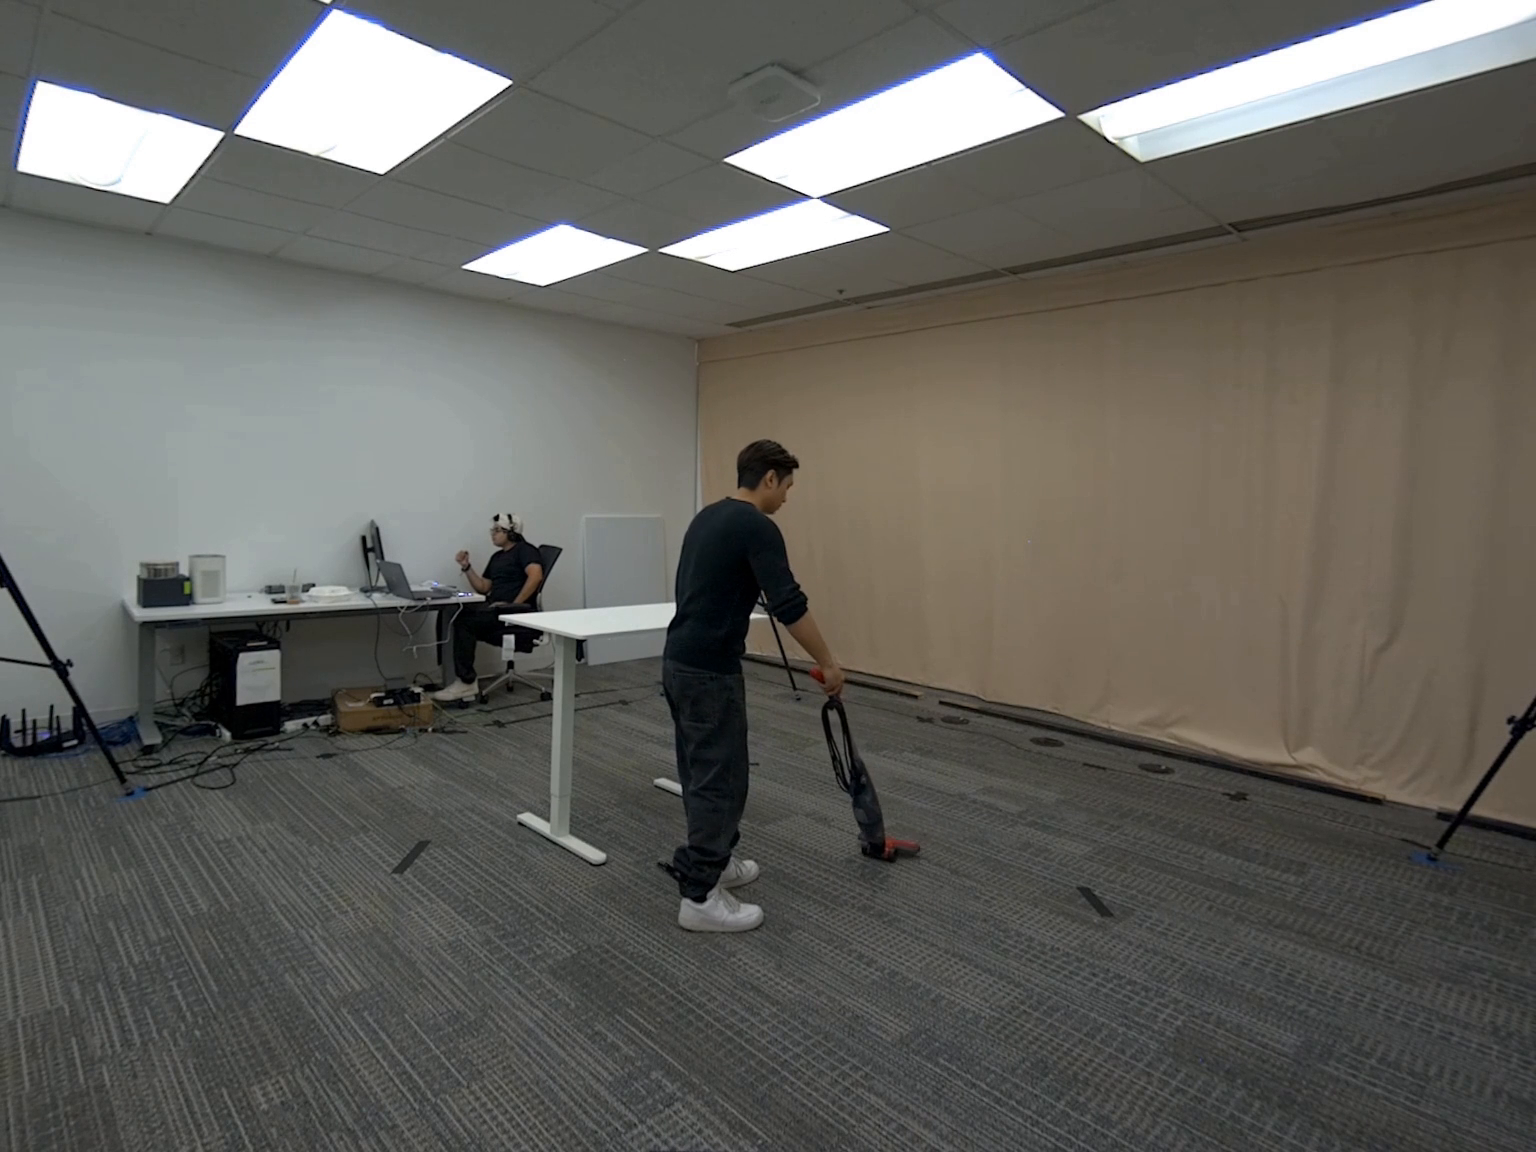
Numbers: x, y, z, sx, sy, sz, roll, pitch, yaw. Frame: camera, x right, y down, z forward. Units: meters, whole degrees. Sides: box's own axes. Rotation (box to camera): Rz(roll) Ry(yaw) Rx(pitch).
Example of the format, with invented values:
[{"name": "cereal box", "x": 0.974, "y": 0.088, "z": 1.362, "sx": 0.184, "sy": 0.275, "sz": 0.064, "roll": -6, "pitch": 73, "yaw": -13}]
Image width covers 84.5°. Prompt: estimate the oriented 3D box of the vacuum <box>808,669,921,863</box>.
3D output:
[{"name": "vacuum", "x": 0.299, "y": 0.700, "z": 3.054, "sx": 0.259, "sy": 1.021, "sz": 0.144, "roll": 7, "pitch": 44, "yaw": 36}]
